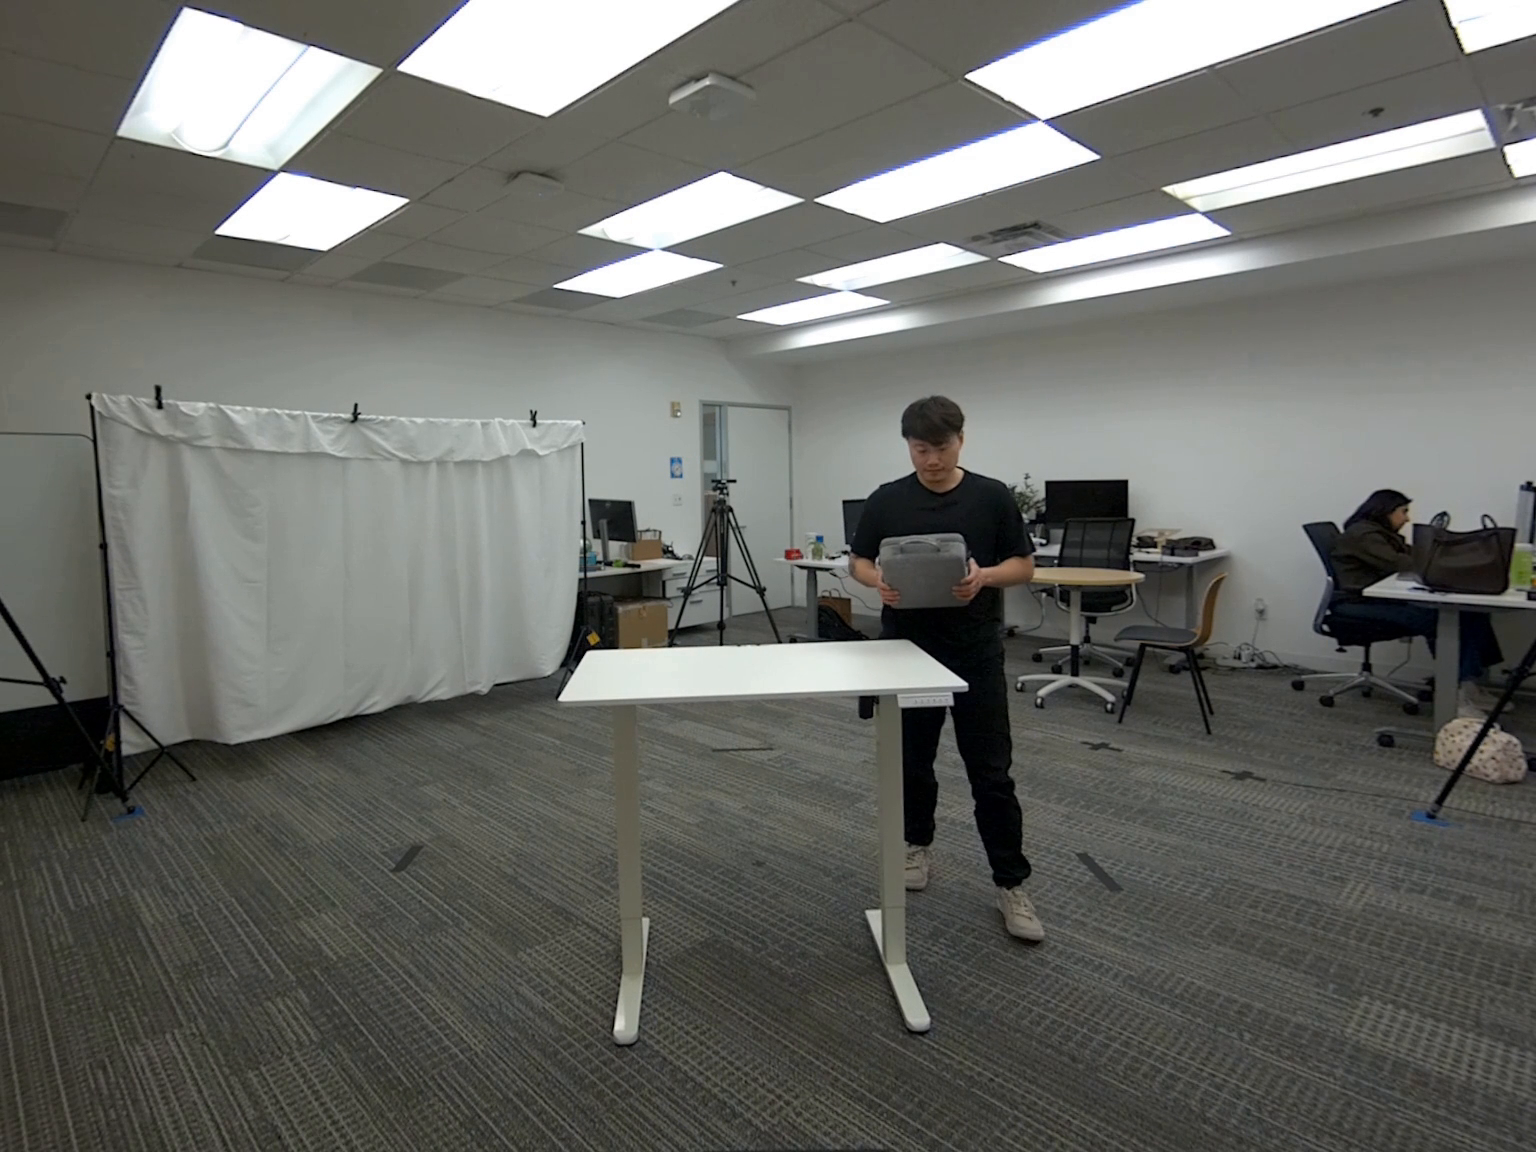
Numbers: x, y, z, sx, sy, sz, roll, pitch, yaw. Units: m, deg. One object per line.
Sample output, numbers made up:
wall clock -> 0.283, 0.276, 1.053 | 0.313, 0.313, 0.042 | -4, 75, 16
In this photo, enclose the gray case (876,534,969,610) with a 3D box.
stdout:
gray case -> 0.478, -0.015, 2.610 | 0.261, 0.106, 0.251 | -4, -42, 18
